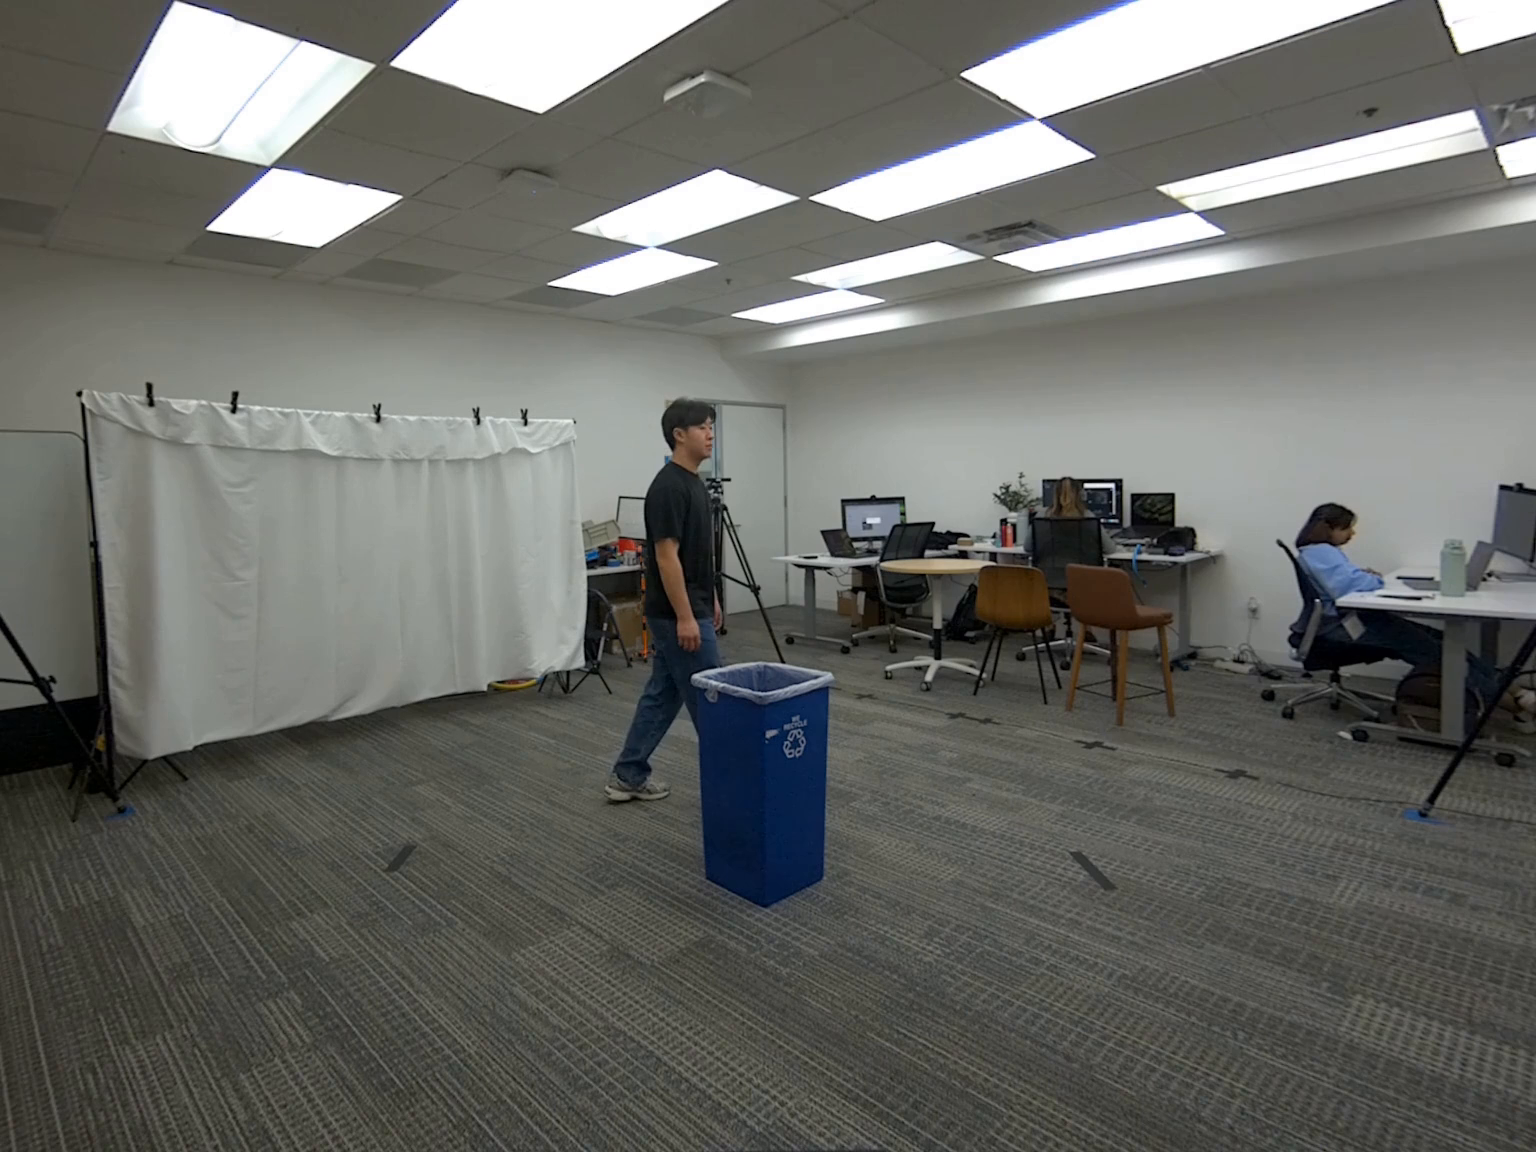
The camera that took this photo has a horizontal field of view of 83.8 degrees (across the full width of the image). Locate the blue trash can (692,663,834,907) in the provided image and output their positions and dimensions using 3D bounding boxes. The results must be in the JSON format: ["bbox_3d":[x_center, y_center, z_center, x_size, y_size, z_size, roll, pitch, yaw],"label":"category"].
[{"bbox_3d":[-0.011,0.697,2.968,0.364,0.711,0.390,-5,6,-44],"label":"blue trash can"}]
